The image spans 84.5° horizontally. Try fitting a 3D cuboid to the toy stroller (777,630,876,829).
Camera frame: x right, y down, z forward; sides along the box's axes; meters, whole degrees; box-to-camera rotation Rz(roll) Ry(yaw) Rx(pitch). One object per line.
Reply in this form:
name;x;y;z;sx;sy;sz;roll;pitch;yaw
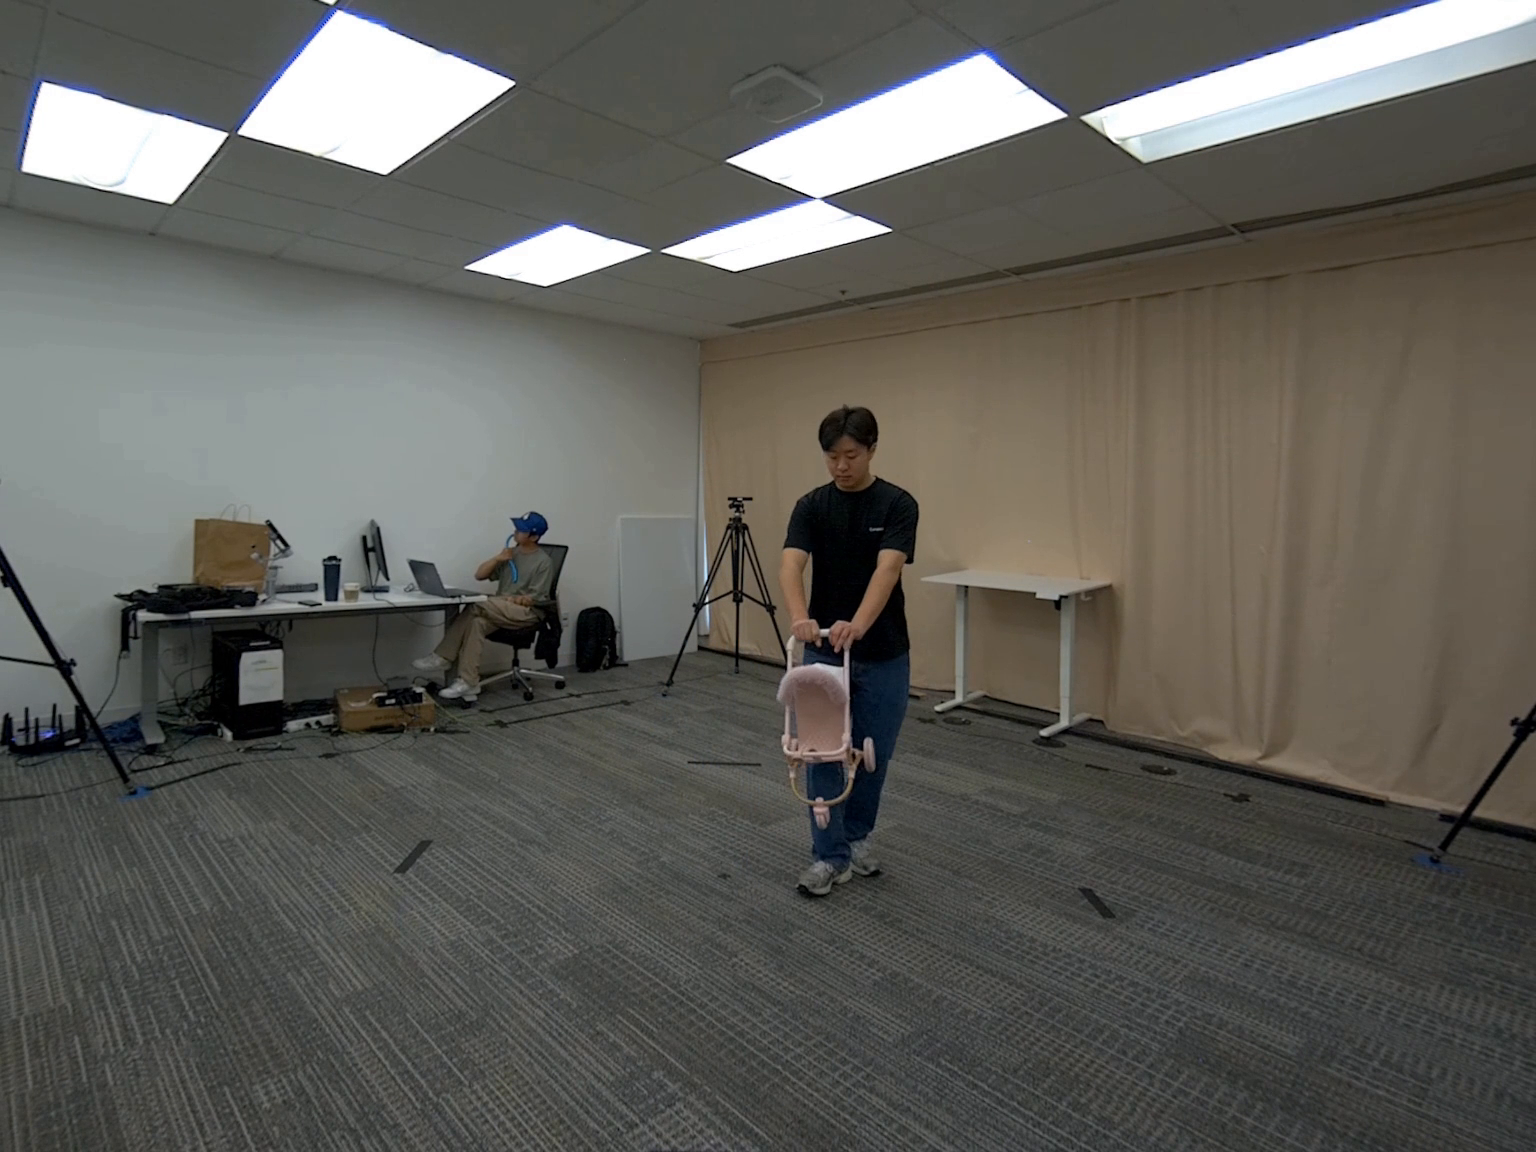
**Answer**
toy stroller;0.156;0.485;2.652;0.286;0.528;0.340;-3;16;20
